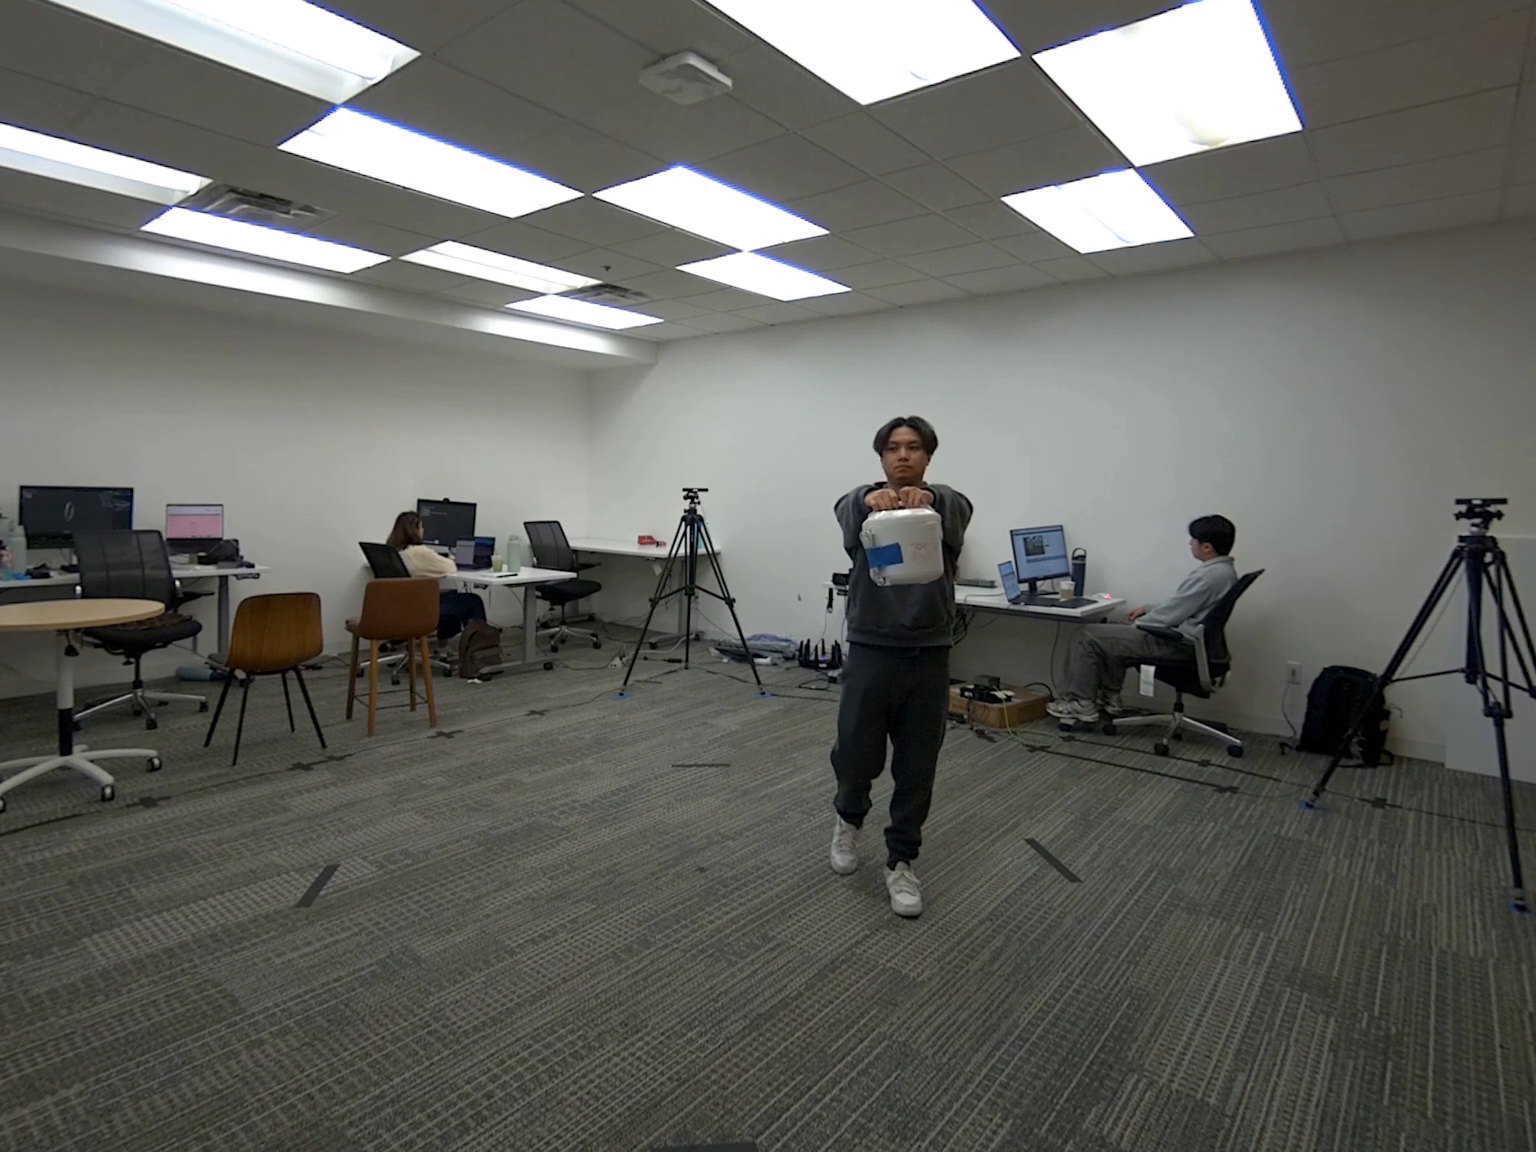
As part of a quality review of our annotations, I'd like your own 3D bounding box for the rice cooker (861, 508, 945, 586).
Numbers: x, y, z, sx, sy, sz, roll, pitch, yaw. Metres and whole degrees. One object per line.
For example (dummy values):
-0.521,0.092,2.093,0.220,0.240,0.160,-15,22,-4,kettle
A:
0.379,-0.096,2.418,0.224,0.232,0.214,-4,2,14,rice cooker
